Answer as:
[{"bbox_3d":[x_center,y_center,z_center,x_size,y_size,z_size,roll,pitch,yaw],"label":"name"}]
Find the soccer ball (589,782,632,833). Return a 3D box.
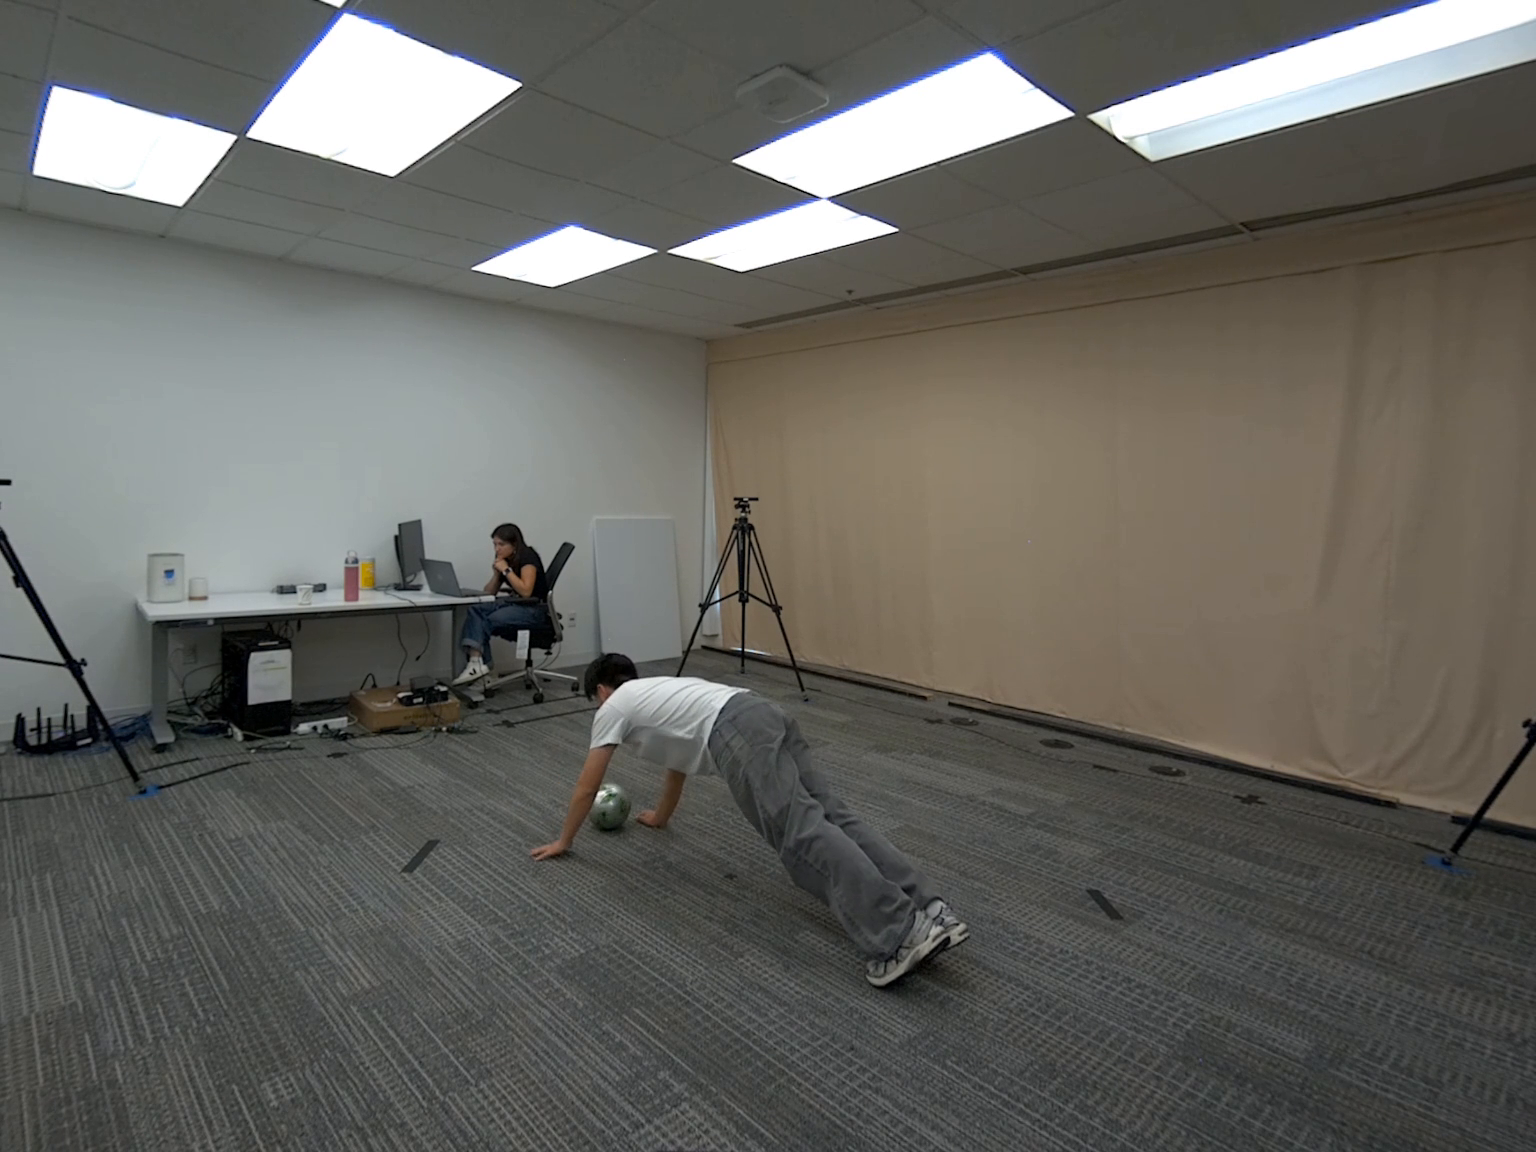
[{"bbox_3d":[-0.685,0.961,3.521,0.187,0.187,0.188,1,4,-1],"label":"soccer ball"}]
